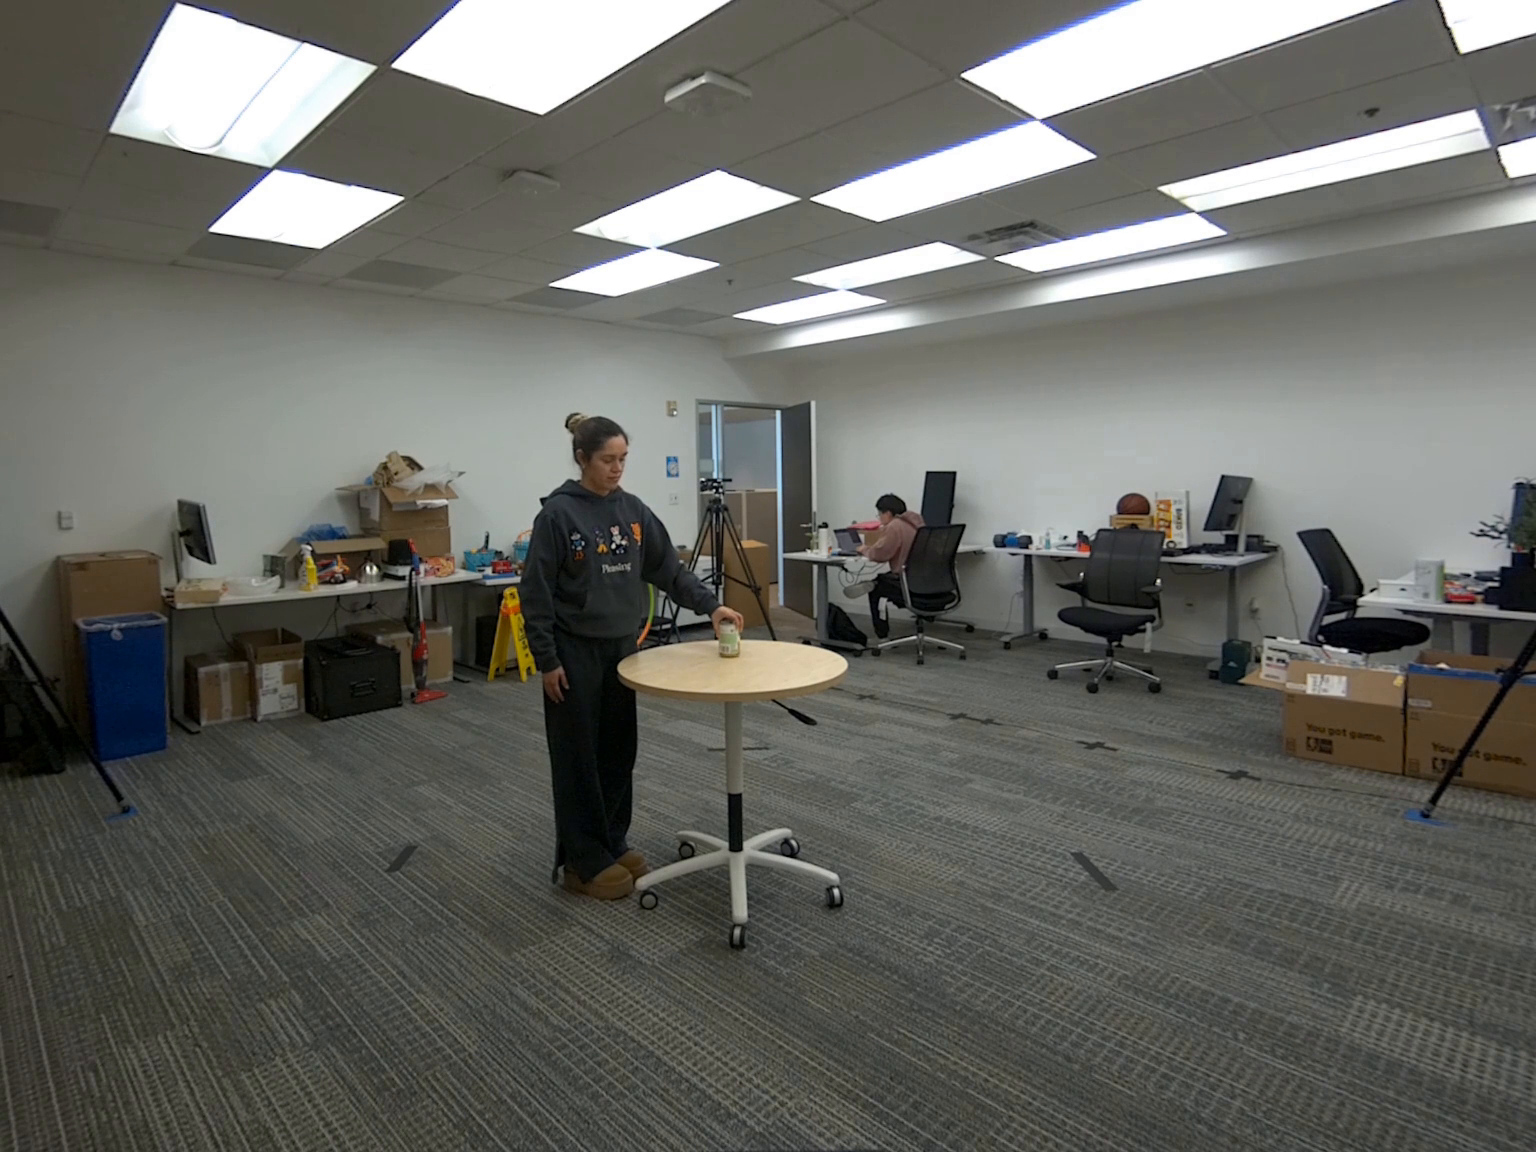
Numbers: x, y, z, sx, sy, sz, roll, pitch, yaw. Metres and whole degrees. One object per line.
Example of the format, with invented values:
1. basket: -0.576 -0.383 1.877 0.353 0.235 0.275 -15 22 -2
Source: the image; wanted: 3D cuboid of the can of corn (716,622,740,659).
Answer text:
1. can of corn: -0.134 0.211 2.944 0.074 0.111 0.074 -4 1 -2
